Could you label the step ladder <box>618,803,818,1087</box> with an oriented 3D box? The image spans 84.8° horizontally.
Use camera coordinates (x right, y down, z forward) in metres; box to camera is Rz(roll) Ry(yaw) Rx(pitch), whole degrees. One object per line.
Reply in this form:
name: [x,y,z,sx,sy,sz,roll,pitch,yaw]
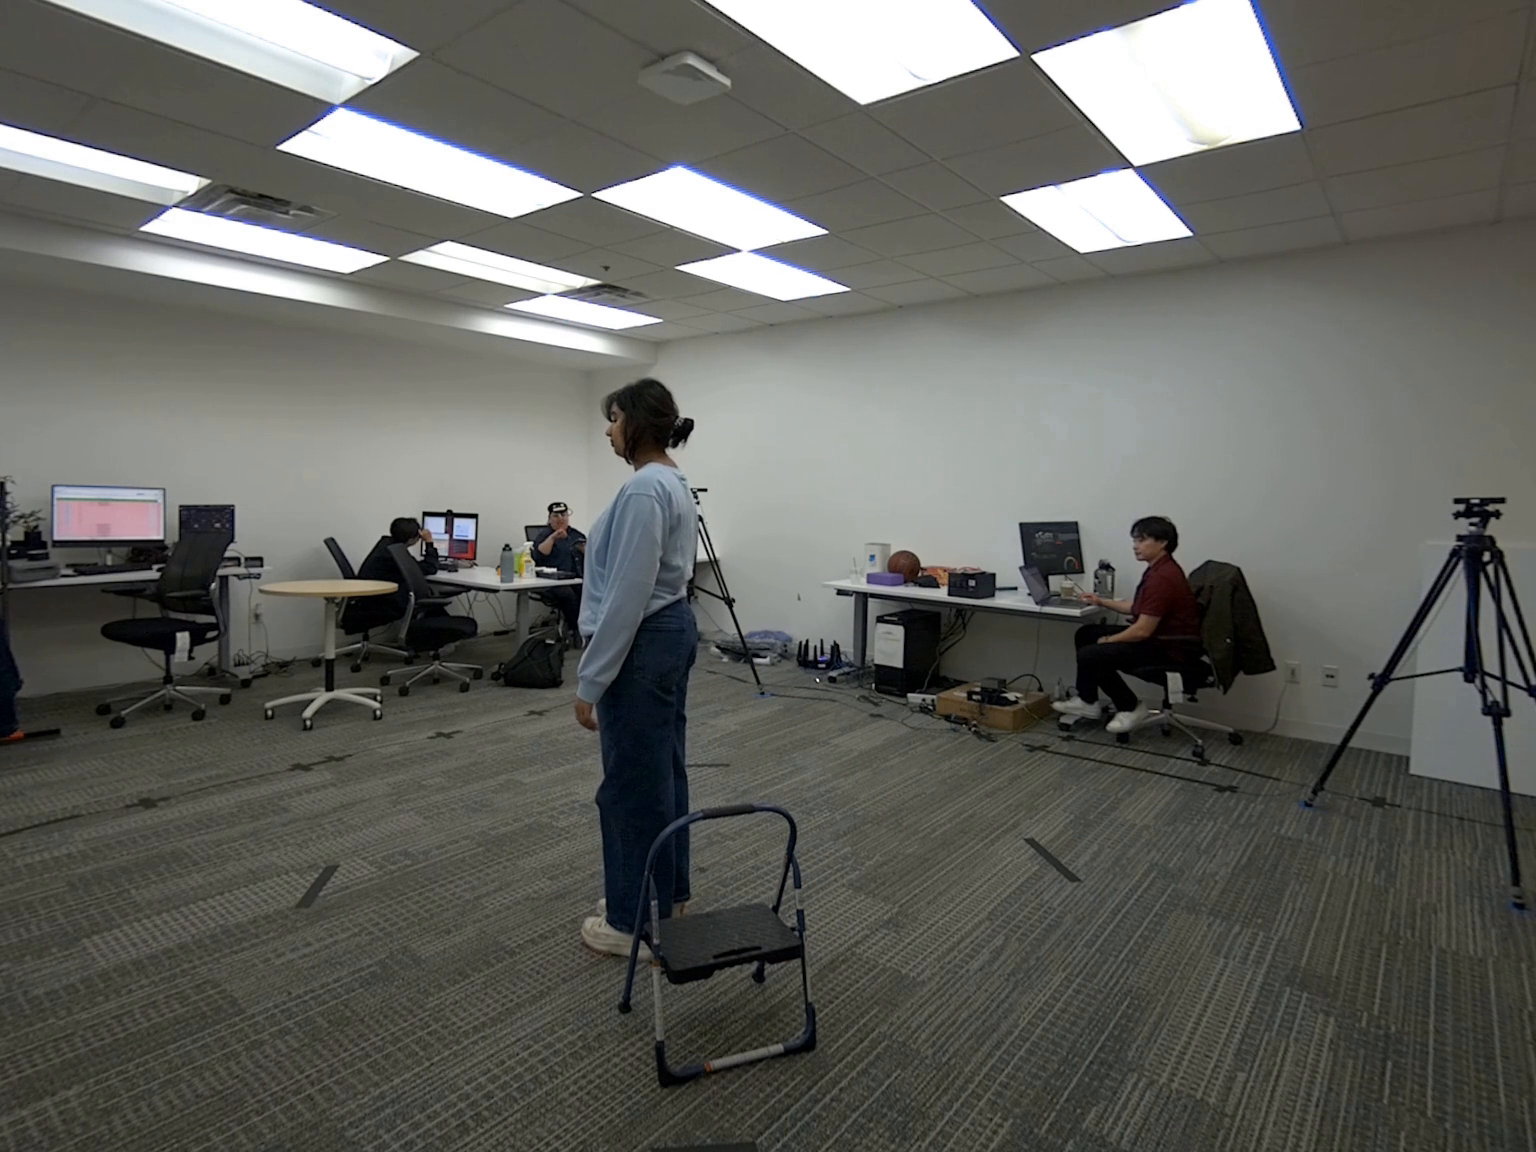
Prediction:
step ladder: [-0.135,0.863,2.189,0.421,0.604,0.358,-1,4,-24]
